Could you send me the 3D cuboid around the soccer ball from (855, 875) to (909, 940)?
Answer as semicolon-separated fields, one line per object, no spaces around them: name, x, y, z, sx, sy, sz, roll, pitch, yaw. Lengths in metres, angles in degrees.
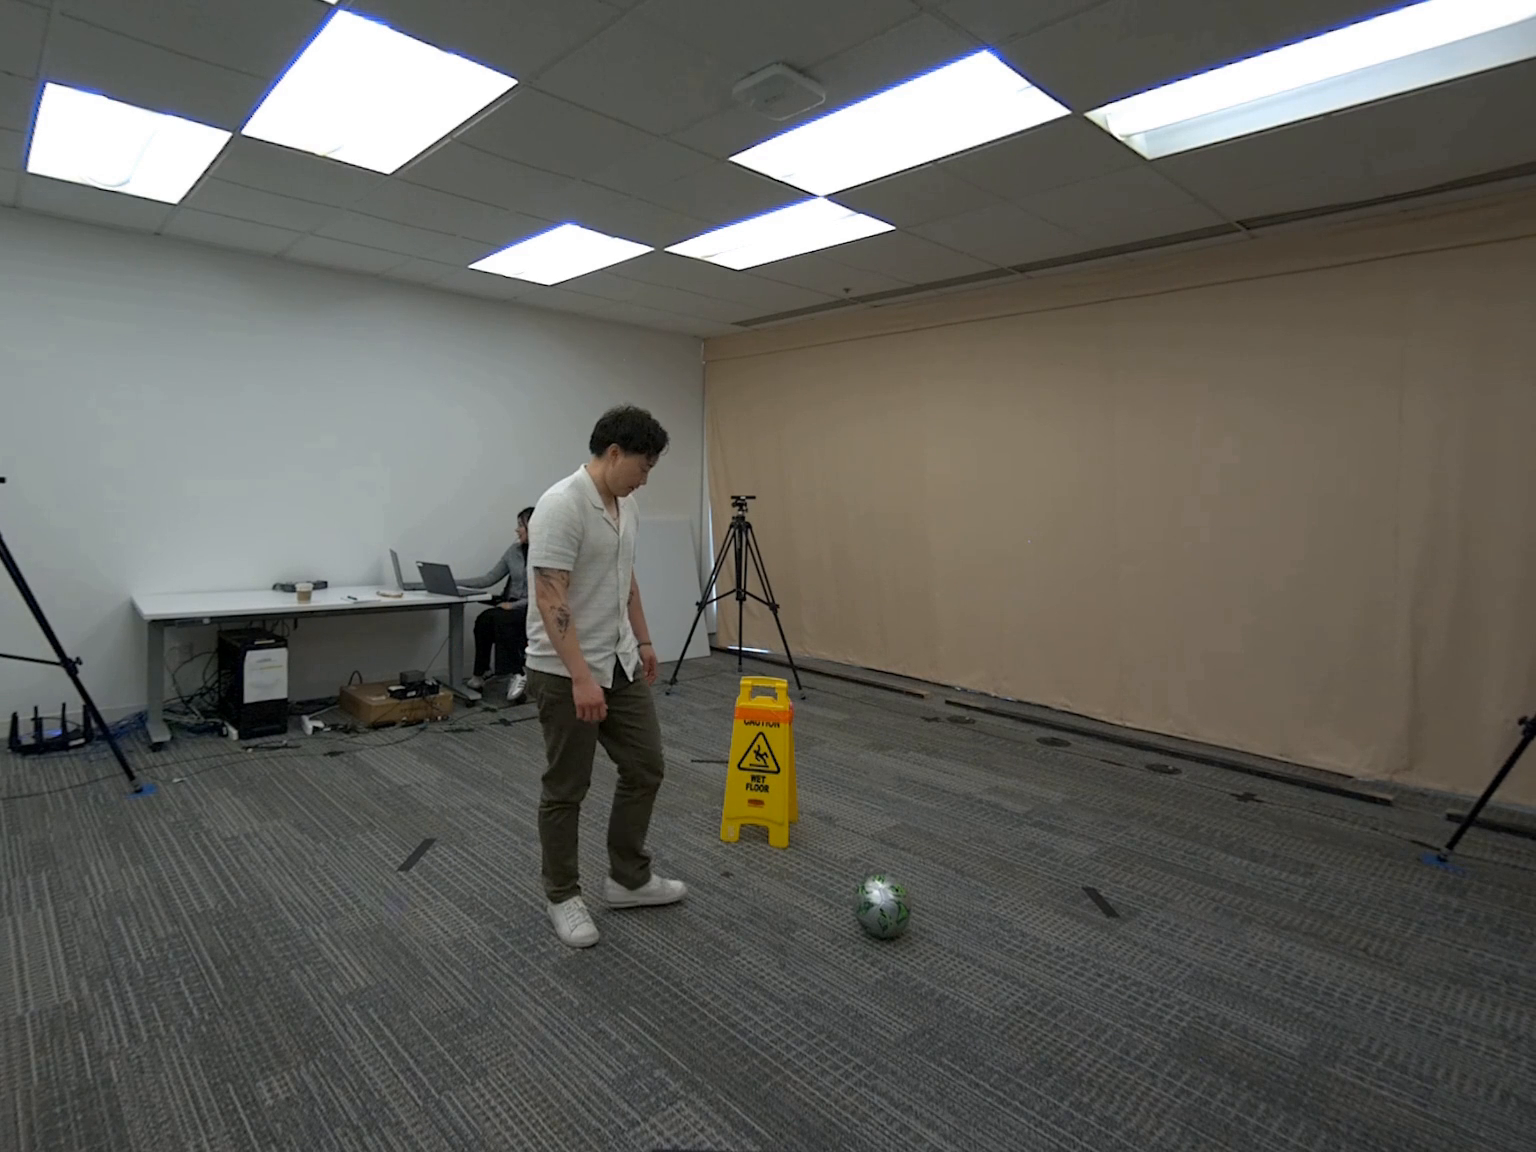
soccer ball;0.356;1.057;2.697;0.187;0.187;0.188;1;4;-1
